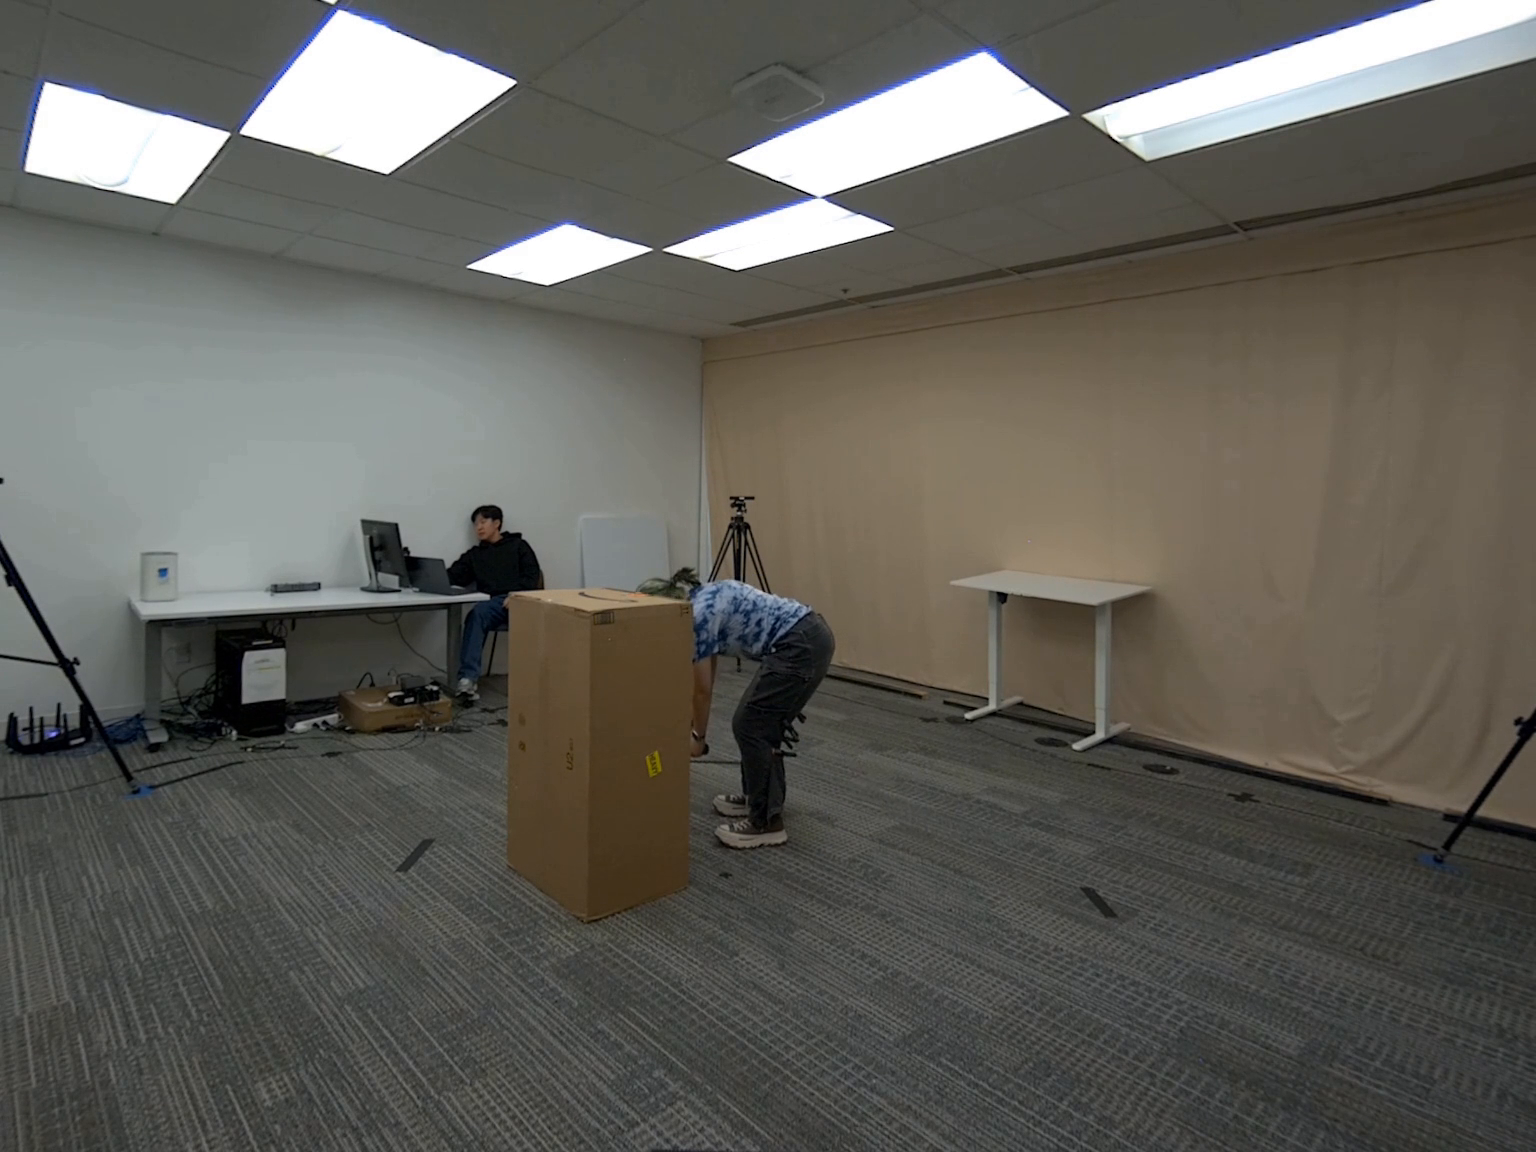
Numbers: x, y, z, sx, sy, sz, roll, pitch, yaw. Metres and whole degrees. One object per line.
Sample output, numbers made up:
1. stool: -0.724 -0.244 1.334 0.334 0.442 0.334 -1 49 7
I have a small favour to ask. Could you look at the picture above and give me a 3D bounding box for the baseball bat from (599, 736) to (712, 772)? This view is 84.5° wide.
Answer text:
1. baseball bat: -0.503 0.781 3.711 0.552 0.089 0.087 -13 -4 32
